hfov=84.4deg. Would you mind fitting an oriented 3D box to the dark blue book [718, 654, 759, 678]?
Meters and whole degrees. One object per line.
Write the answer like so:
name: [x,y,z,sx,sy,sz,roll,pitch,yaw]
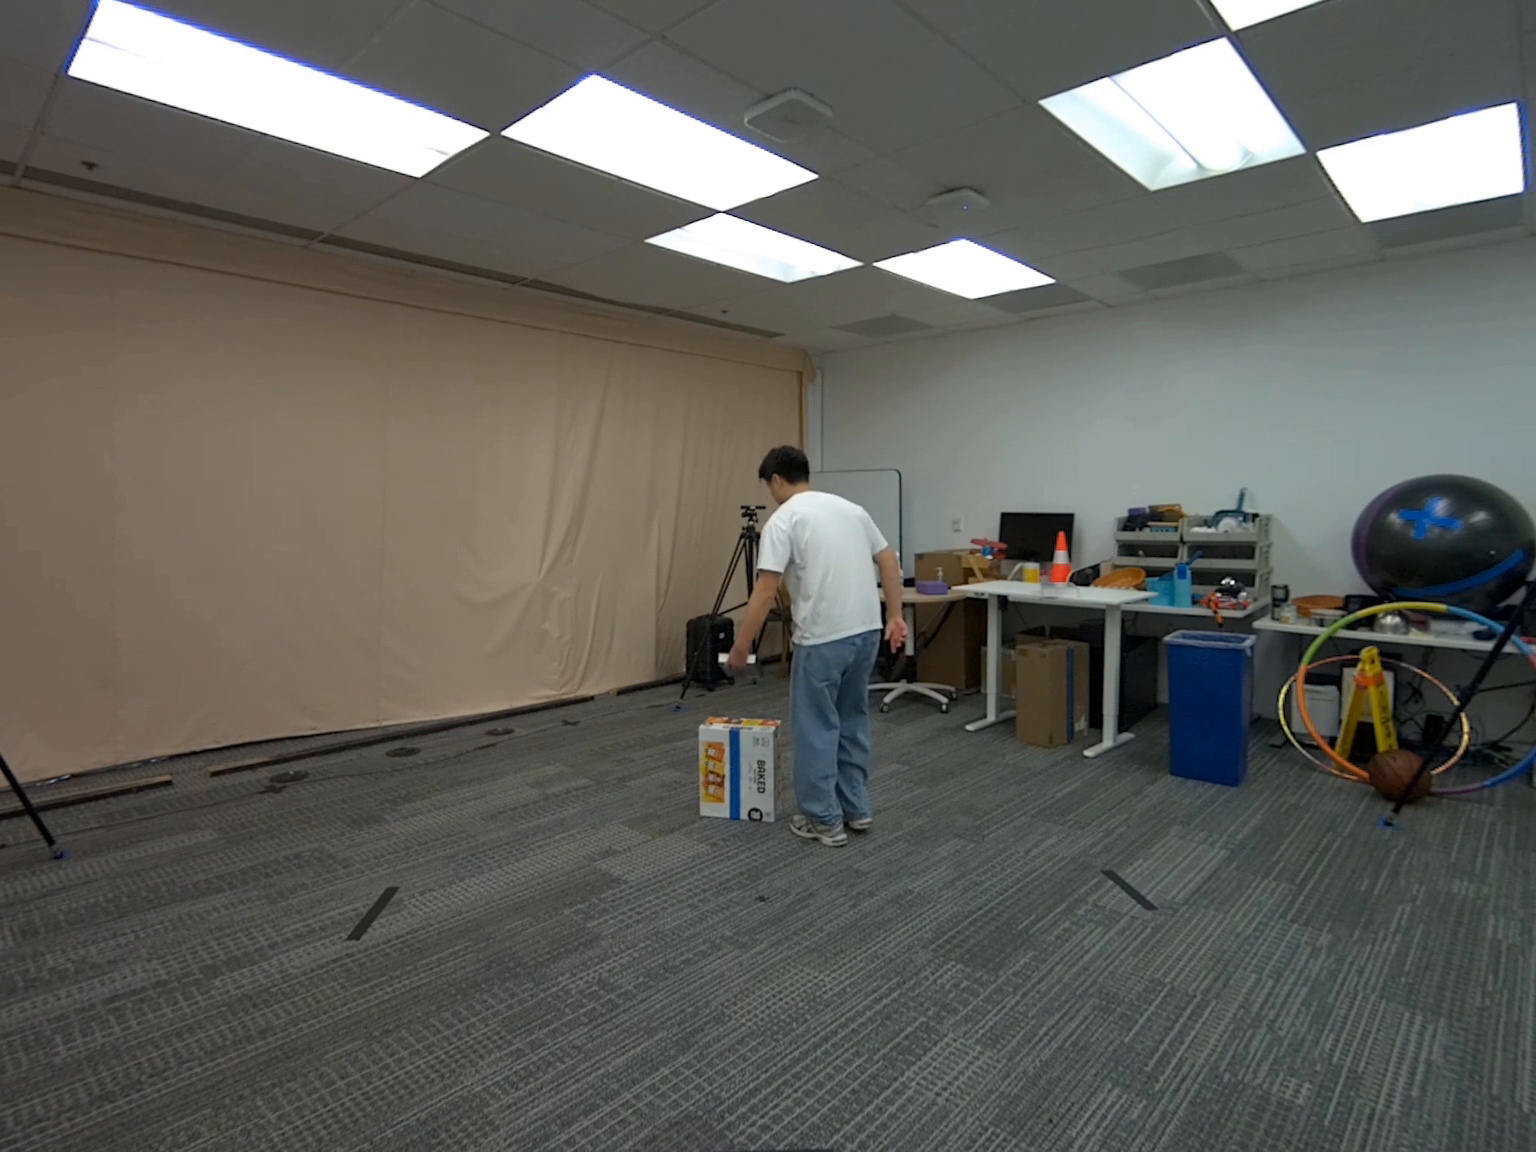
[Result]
dark blue book: [-0.124,0.386,3.662,0.164,0.045,0.243,3,-8,1]
